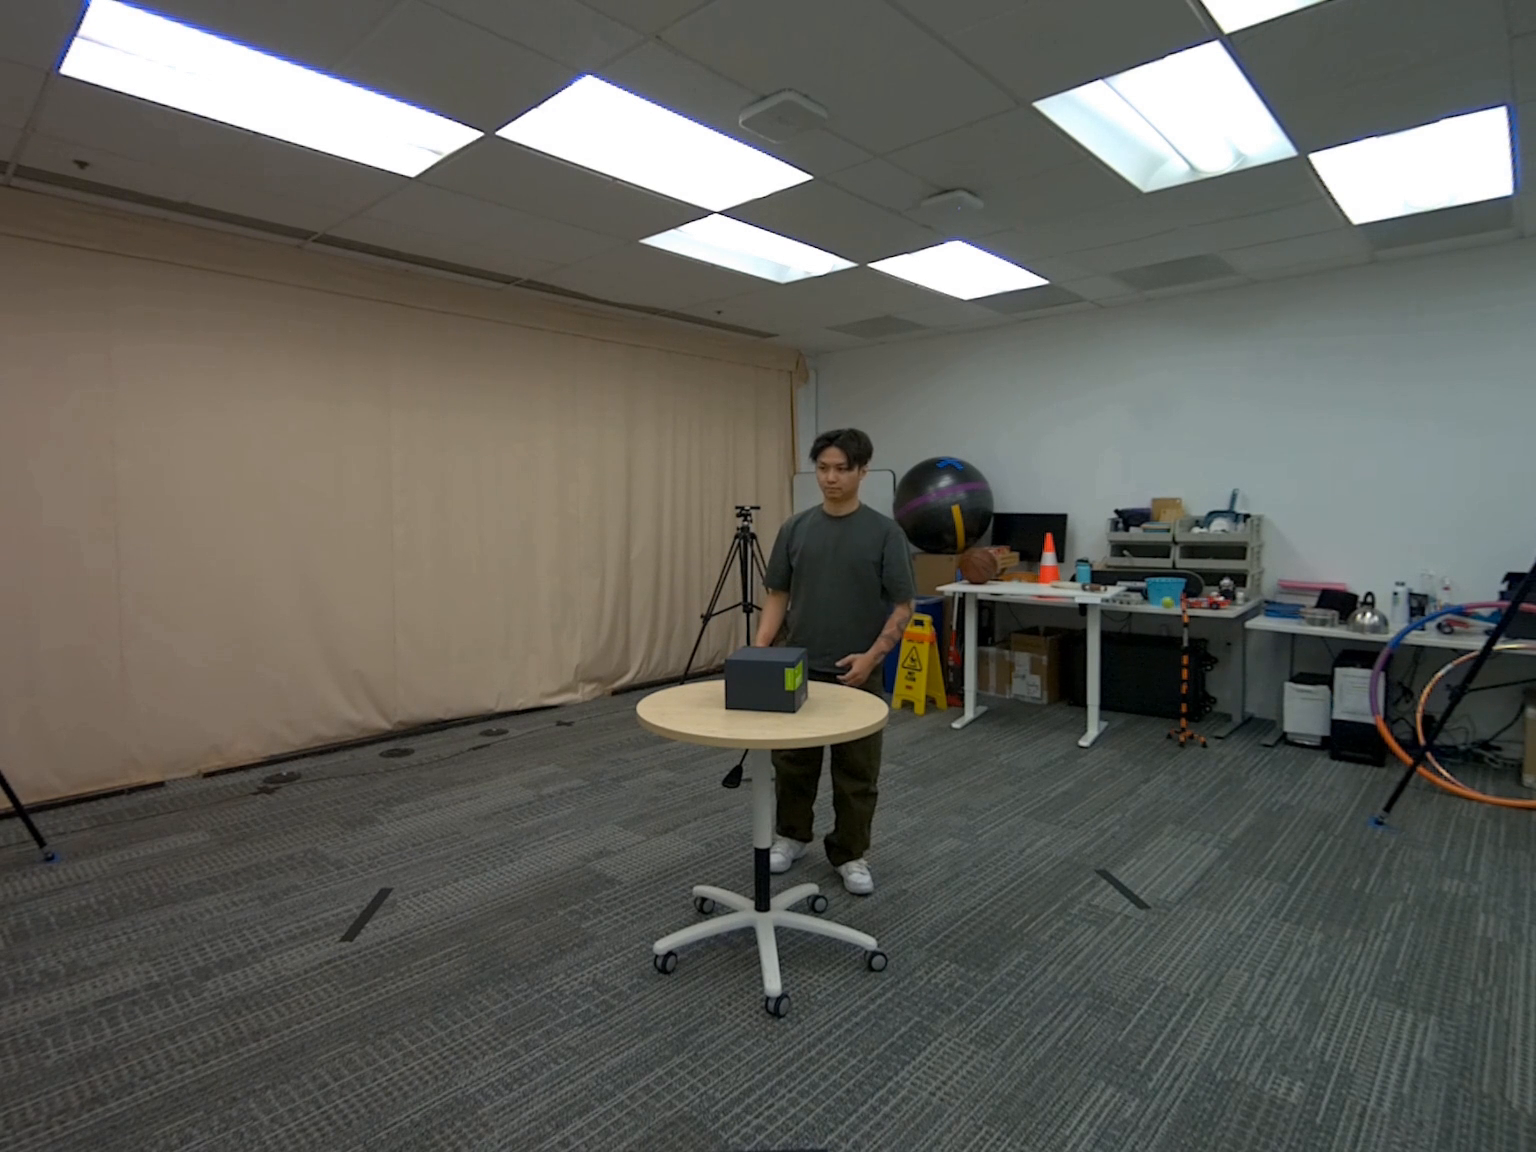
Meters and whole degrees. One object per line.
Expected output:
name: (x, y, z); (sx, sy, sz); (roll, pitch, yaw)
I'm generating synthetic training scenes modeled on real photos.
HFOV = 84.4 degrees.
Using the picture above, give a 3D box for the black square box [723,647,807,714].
black square box: (0.000, 0.309, 2.598); (0.220, 0.155, 0.225); (0, 5, 14)
